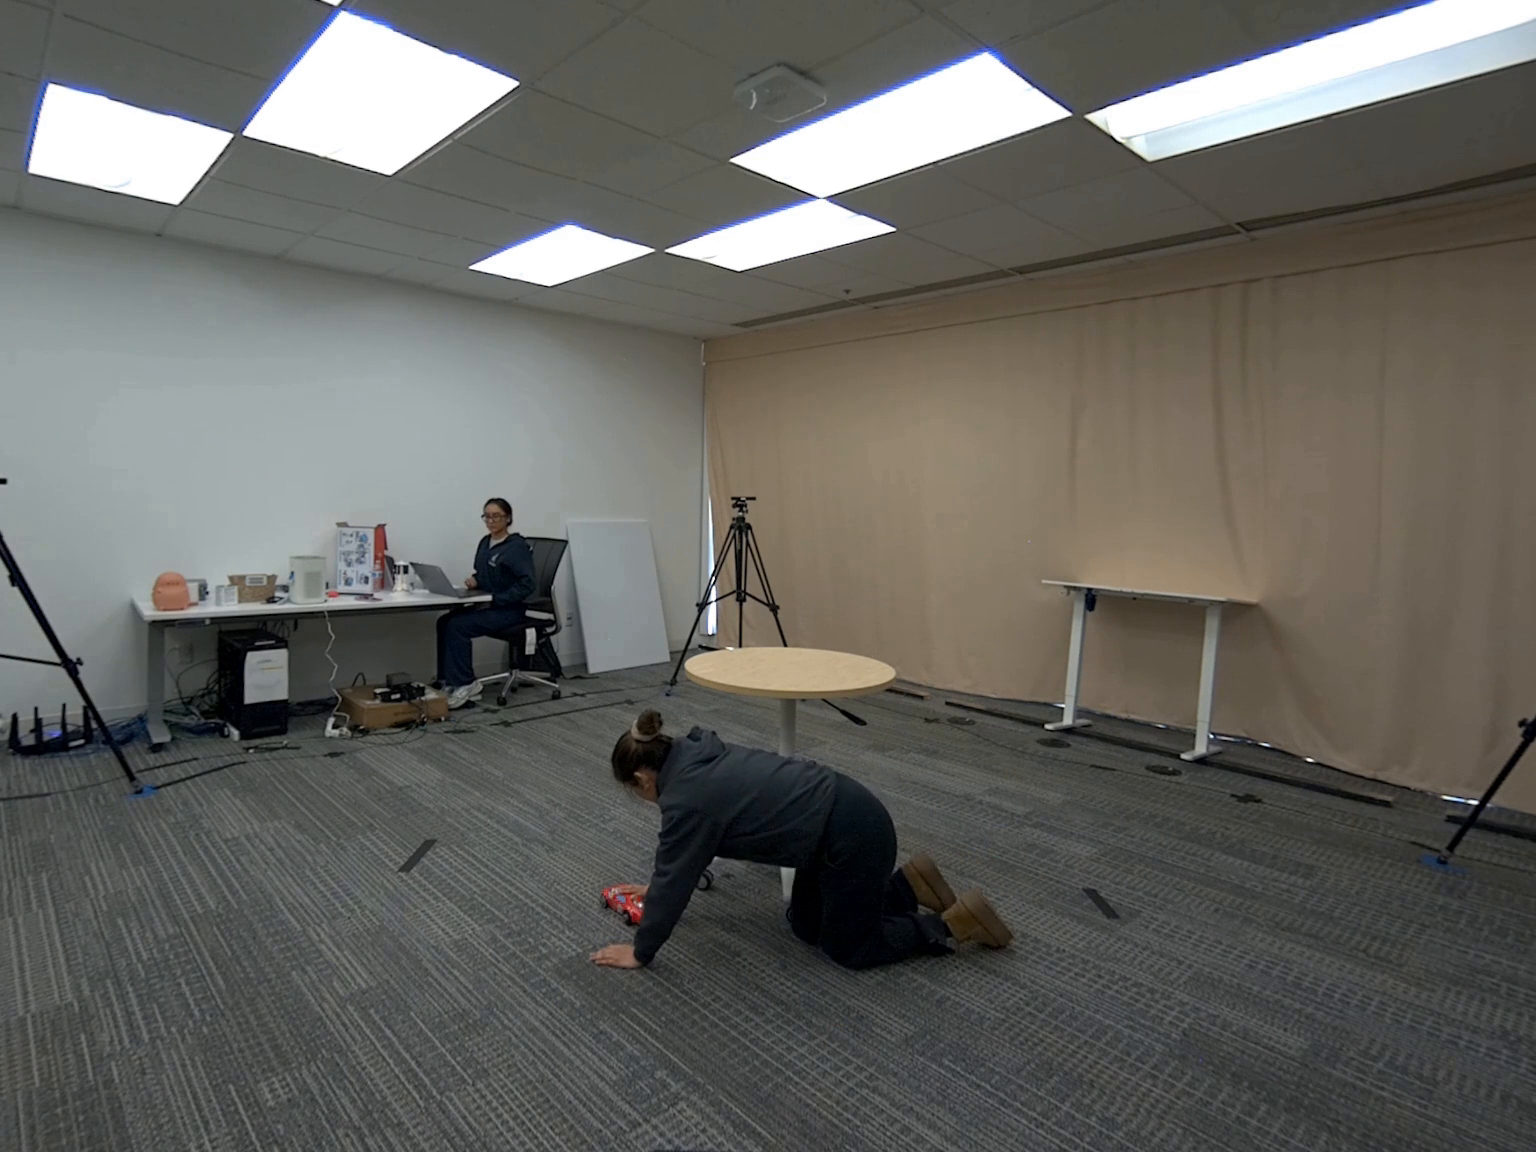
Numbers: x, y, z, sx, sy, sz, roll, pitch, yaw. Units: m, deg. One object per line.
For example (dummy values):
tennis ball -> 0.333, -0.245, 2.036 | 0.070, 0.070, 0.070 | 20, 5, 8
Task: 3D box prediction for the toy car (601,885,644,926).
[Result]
toy car -> -0.456, 1.093, 2.812 | 0.127, 0.083, 0.259 | -2, -5, -41
